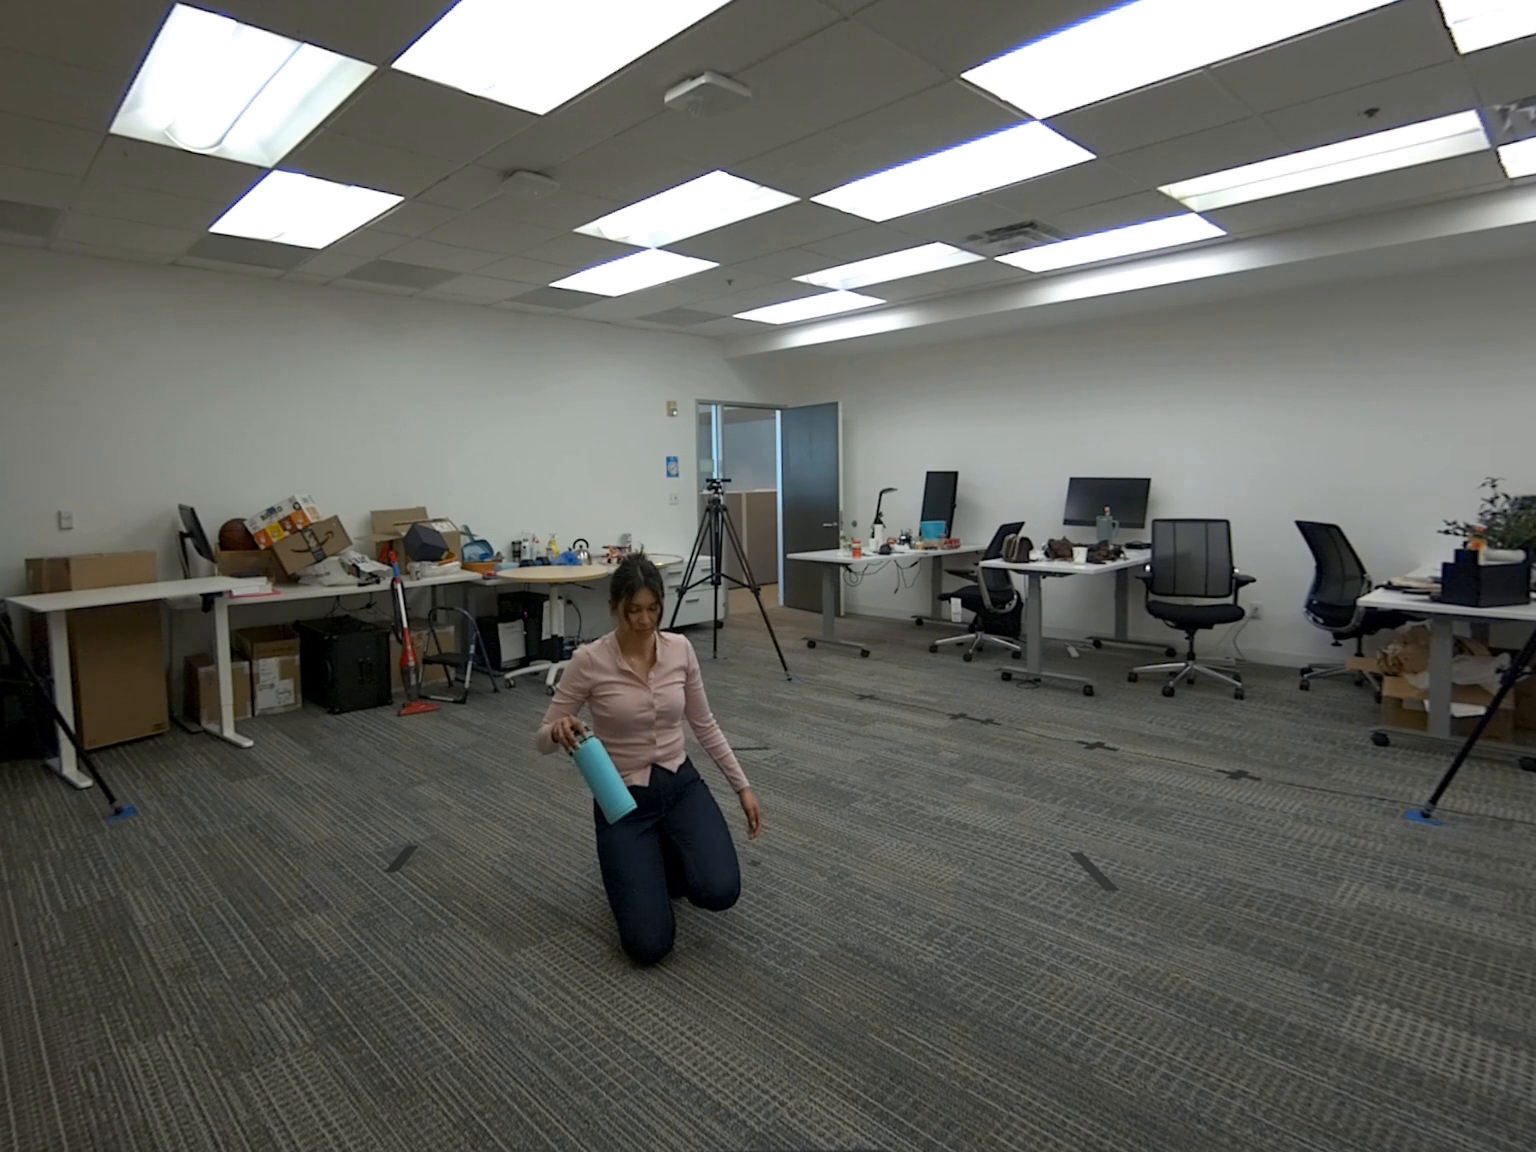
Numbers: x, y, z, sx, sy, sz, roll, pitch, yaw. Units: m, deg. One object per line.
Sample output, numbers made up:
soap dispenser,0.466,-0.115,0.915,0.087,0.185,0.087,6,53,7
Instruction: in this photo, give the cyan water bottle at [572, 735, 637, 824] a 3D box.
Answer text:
cyan water bottle,-0.477,0.558,2.400,0.092,0.288,0.091,-28,-14,-9
